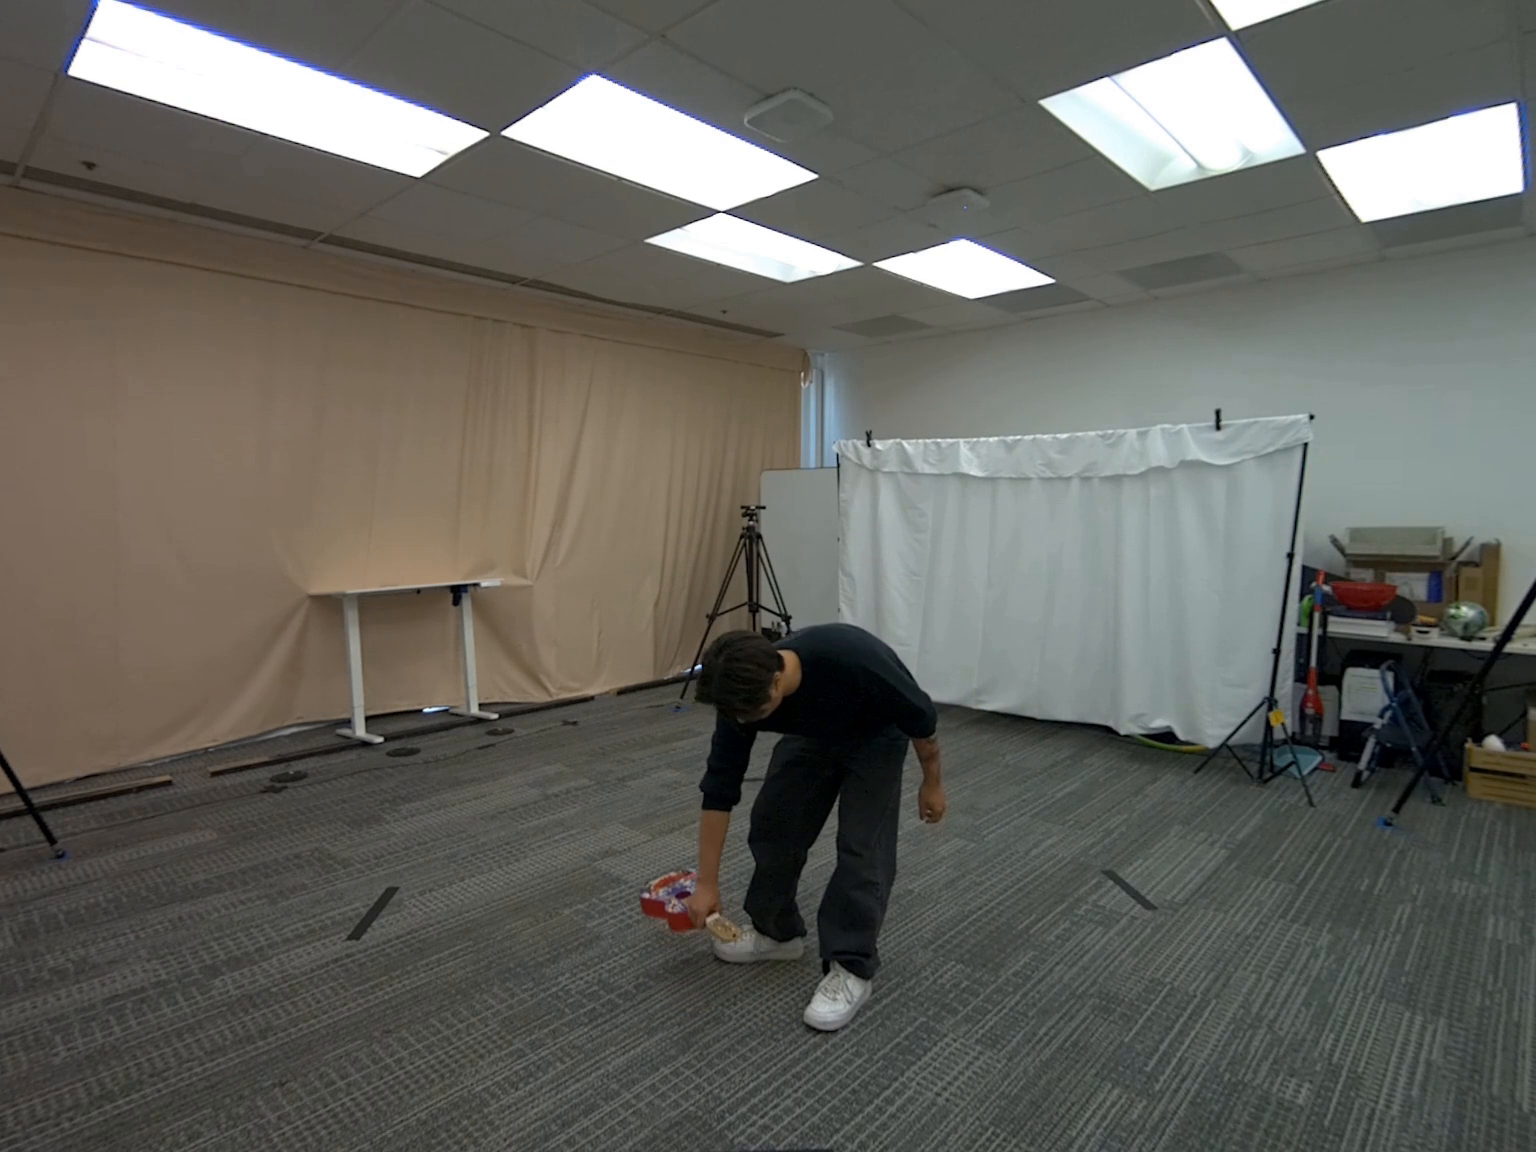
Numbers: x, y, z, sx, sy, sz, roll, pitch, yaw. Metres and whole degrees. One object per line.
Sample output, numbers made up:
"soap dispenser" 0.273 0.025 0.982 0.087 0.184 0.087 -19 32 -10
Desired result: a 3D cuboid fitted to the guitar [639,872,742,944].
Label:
"guitar" -0.226 0.976 2.399 0.190 0.070 0.509 -15 8 -21
